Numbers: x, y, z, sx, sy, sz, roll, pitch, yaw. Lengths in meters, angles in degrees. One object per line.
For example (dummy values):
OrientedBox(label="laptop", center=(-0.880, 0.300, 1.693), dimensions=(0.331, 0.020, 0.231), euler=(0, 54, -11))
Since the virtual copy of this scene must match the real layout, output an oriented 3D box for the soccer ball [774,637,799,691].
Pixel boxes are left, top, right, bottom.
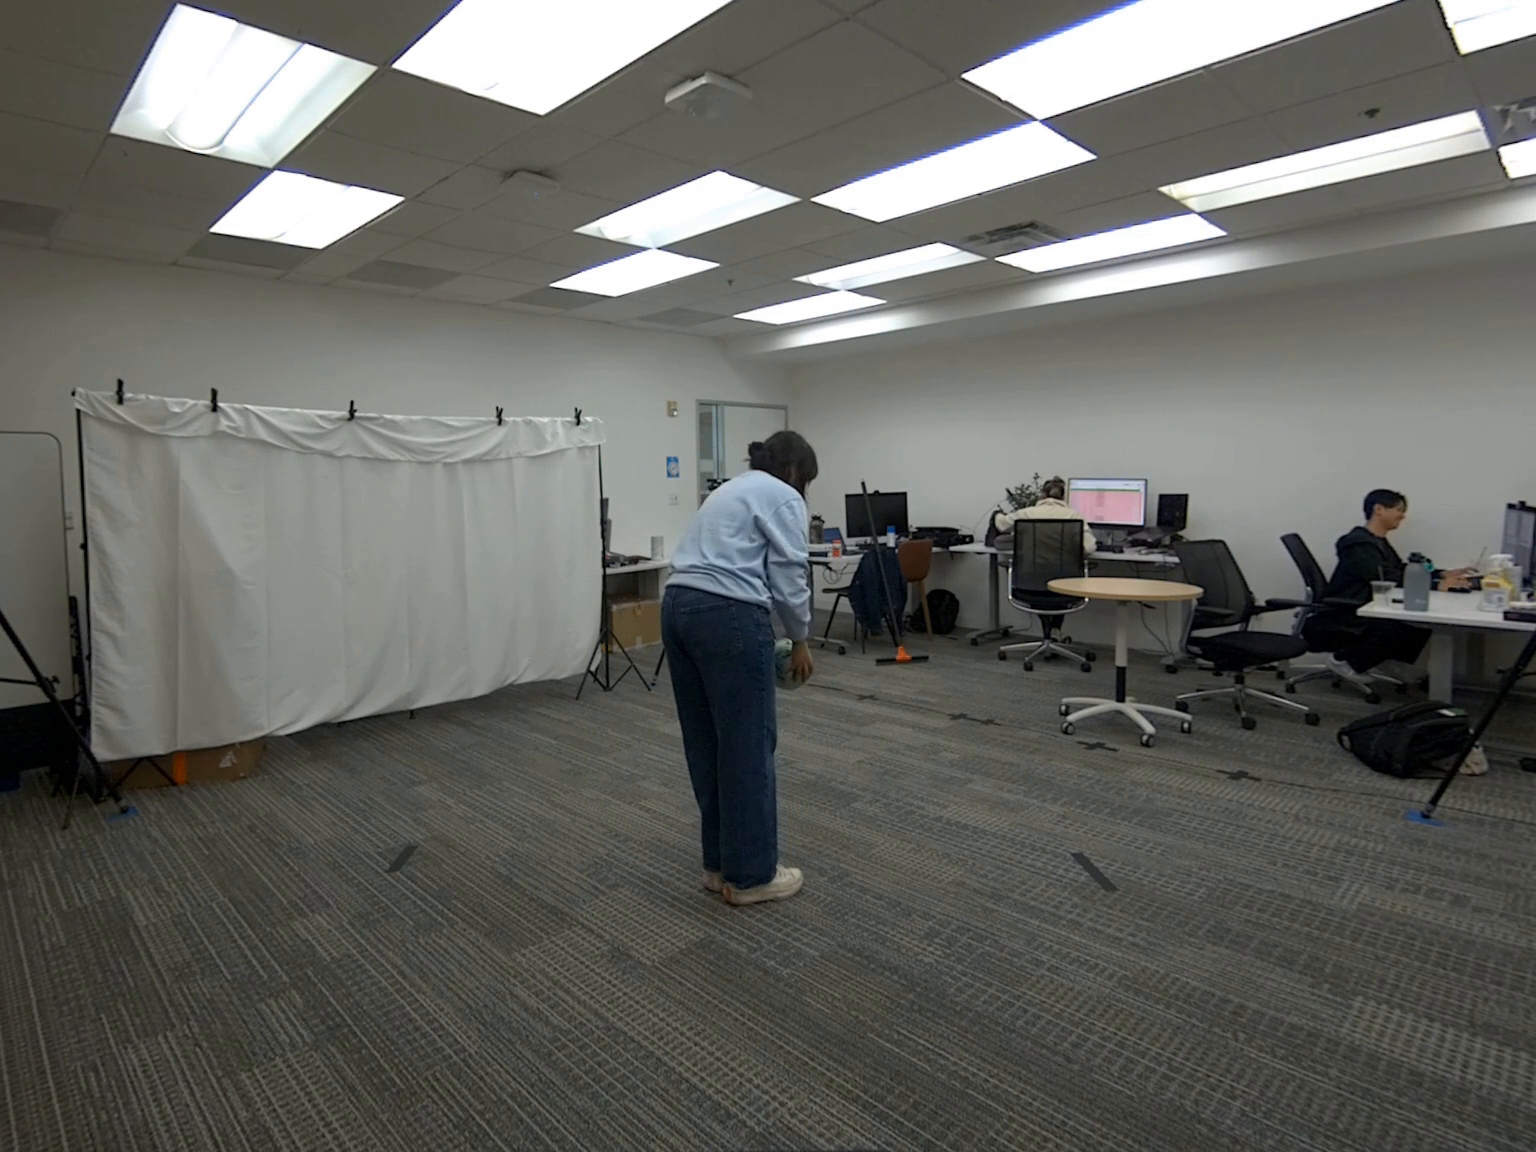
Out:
OrientedBox(label="soccer ball", center=(0.080, 0.318, 3.123), dimensions=(0.187, 0.187, 0.188), euler=(-1, 5, -2))
